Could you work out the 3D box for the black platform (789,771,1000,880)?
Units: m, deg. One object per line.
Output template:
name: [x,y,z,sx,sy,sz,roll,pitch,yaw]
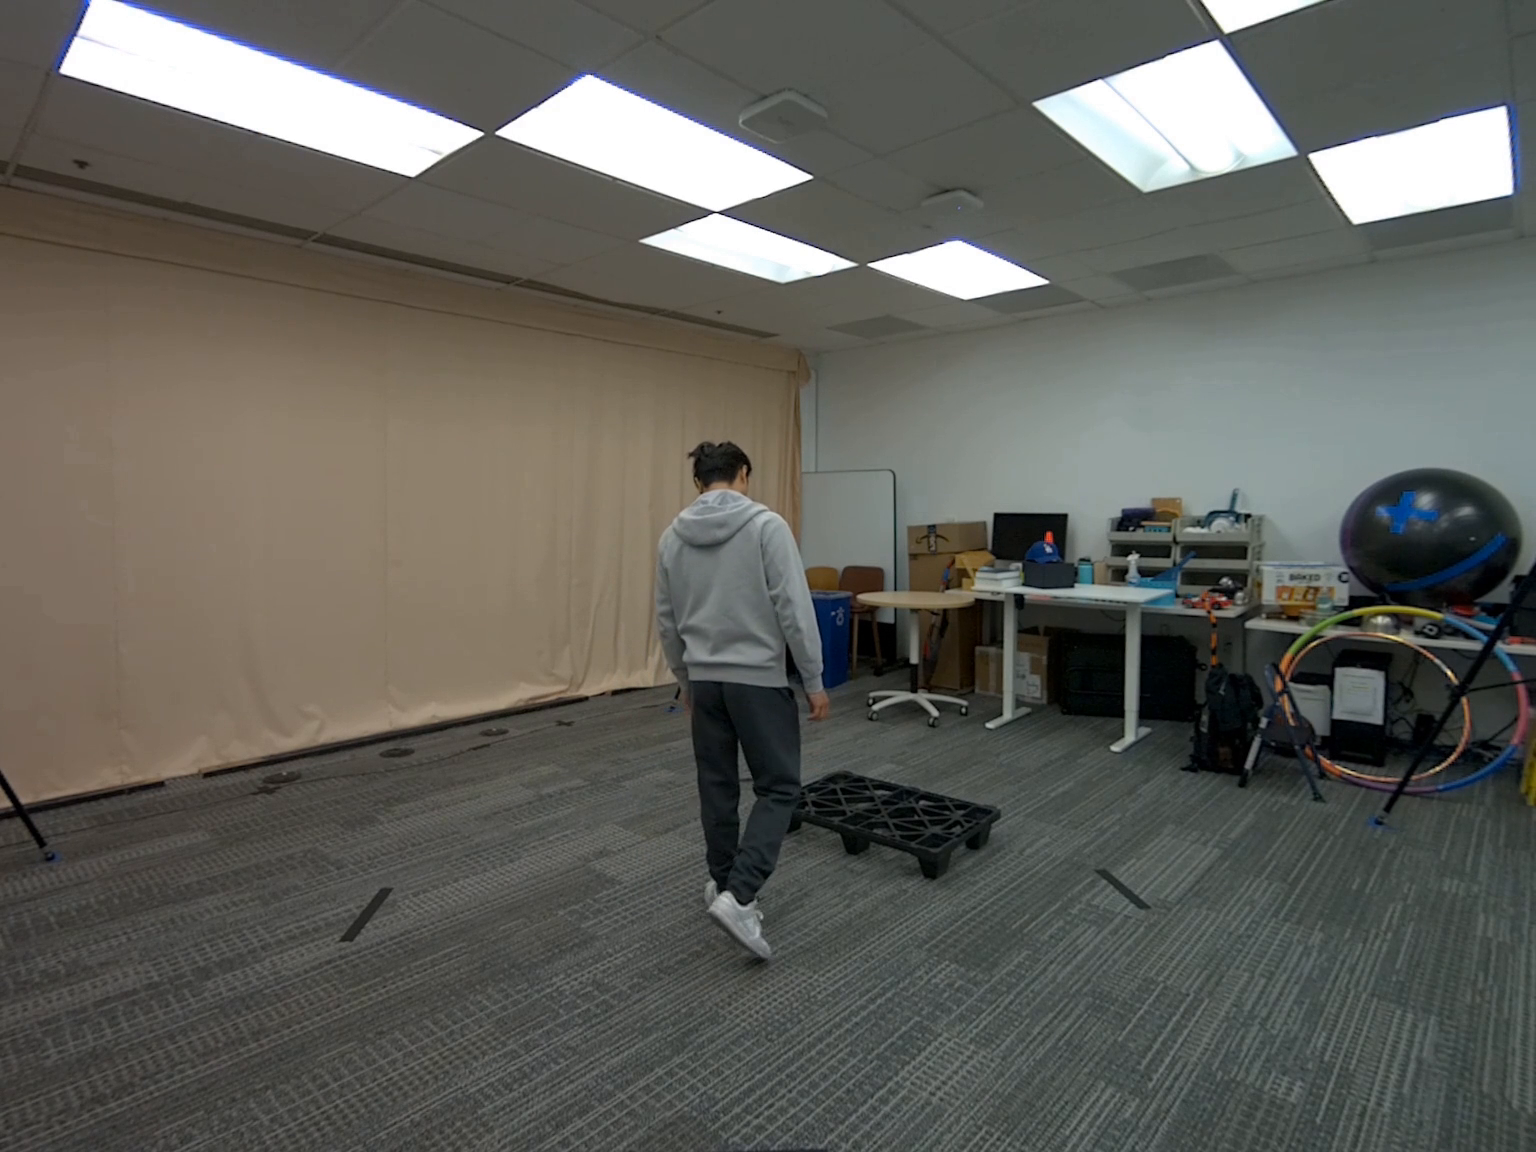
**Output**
black platform: [0.477,1.030,3.531,0.832,0.143,0.587,4,6,39]
